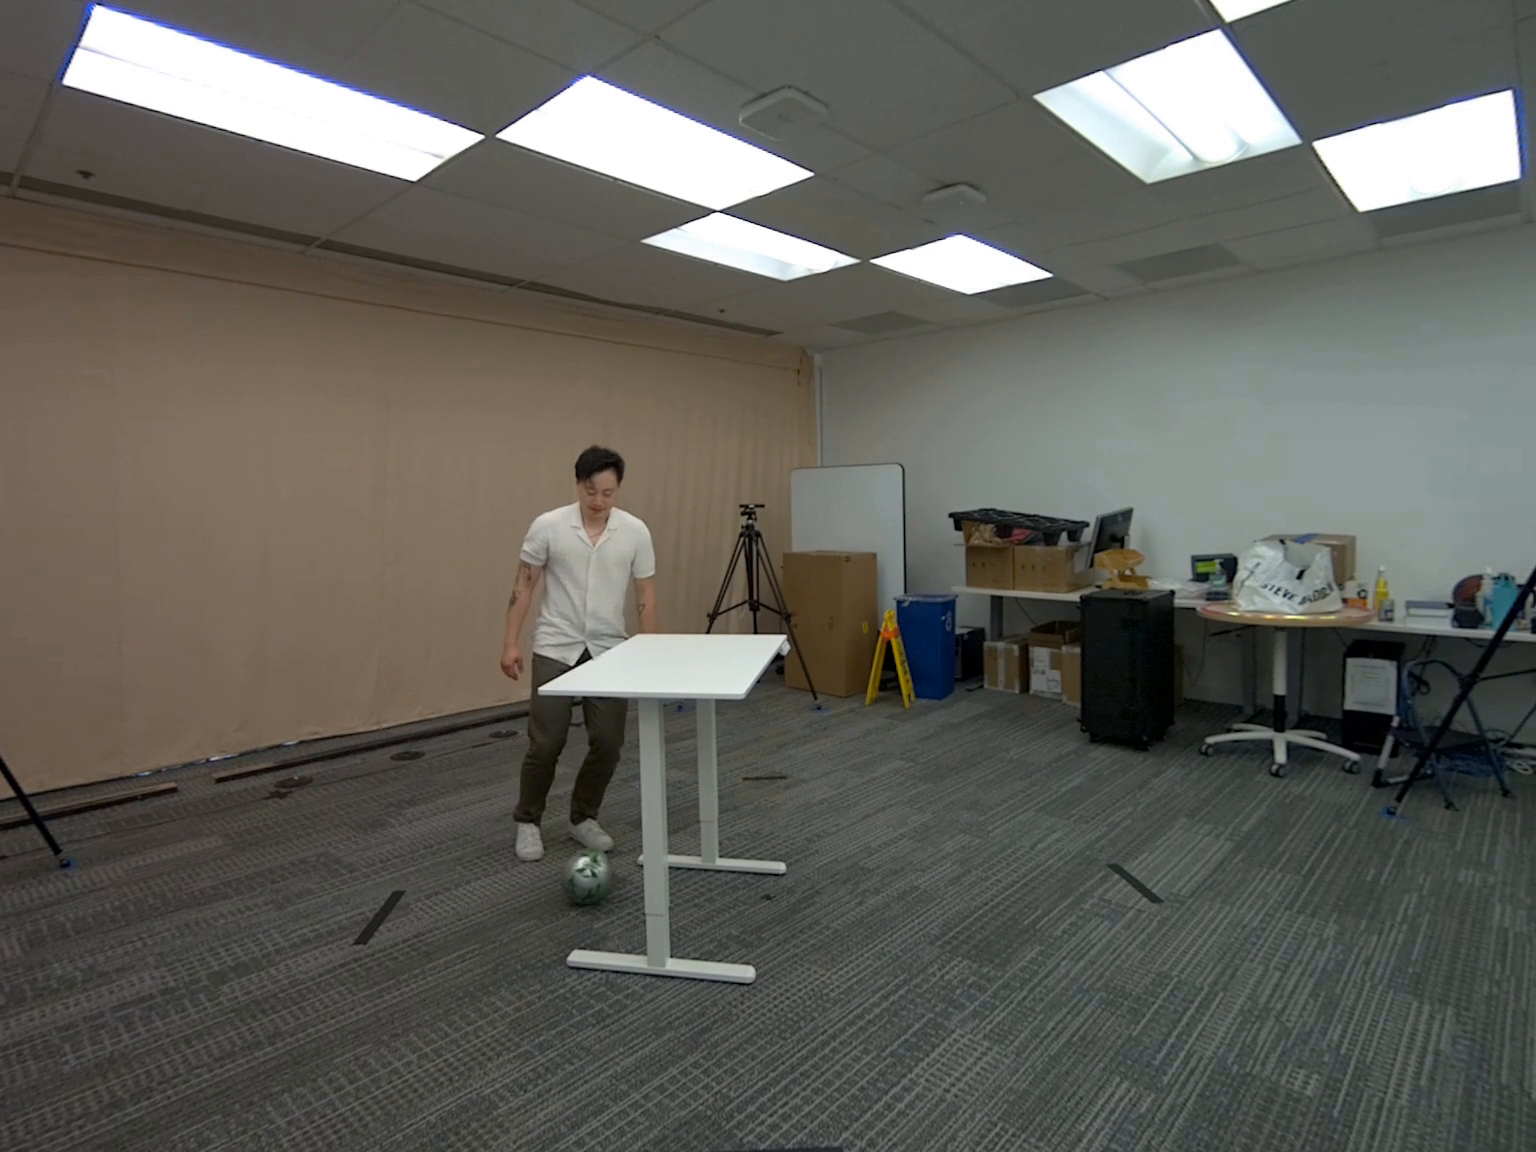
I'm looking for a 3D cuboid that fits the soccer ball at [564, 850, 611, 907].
[{"bbox_3d":[-0.637,1.061,2.976,0.187,0.187,0.188,-1,4,-2],"label":"soccer ball"}]
